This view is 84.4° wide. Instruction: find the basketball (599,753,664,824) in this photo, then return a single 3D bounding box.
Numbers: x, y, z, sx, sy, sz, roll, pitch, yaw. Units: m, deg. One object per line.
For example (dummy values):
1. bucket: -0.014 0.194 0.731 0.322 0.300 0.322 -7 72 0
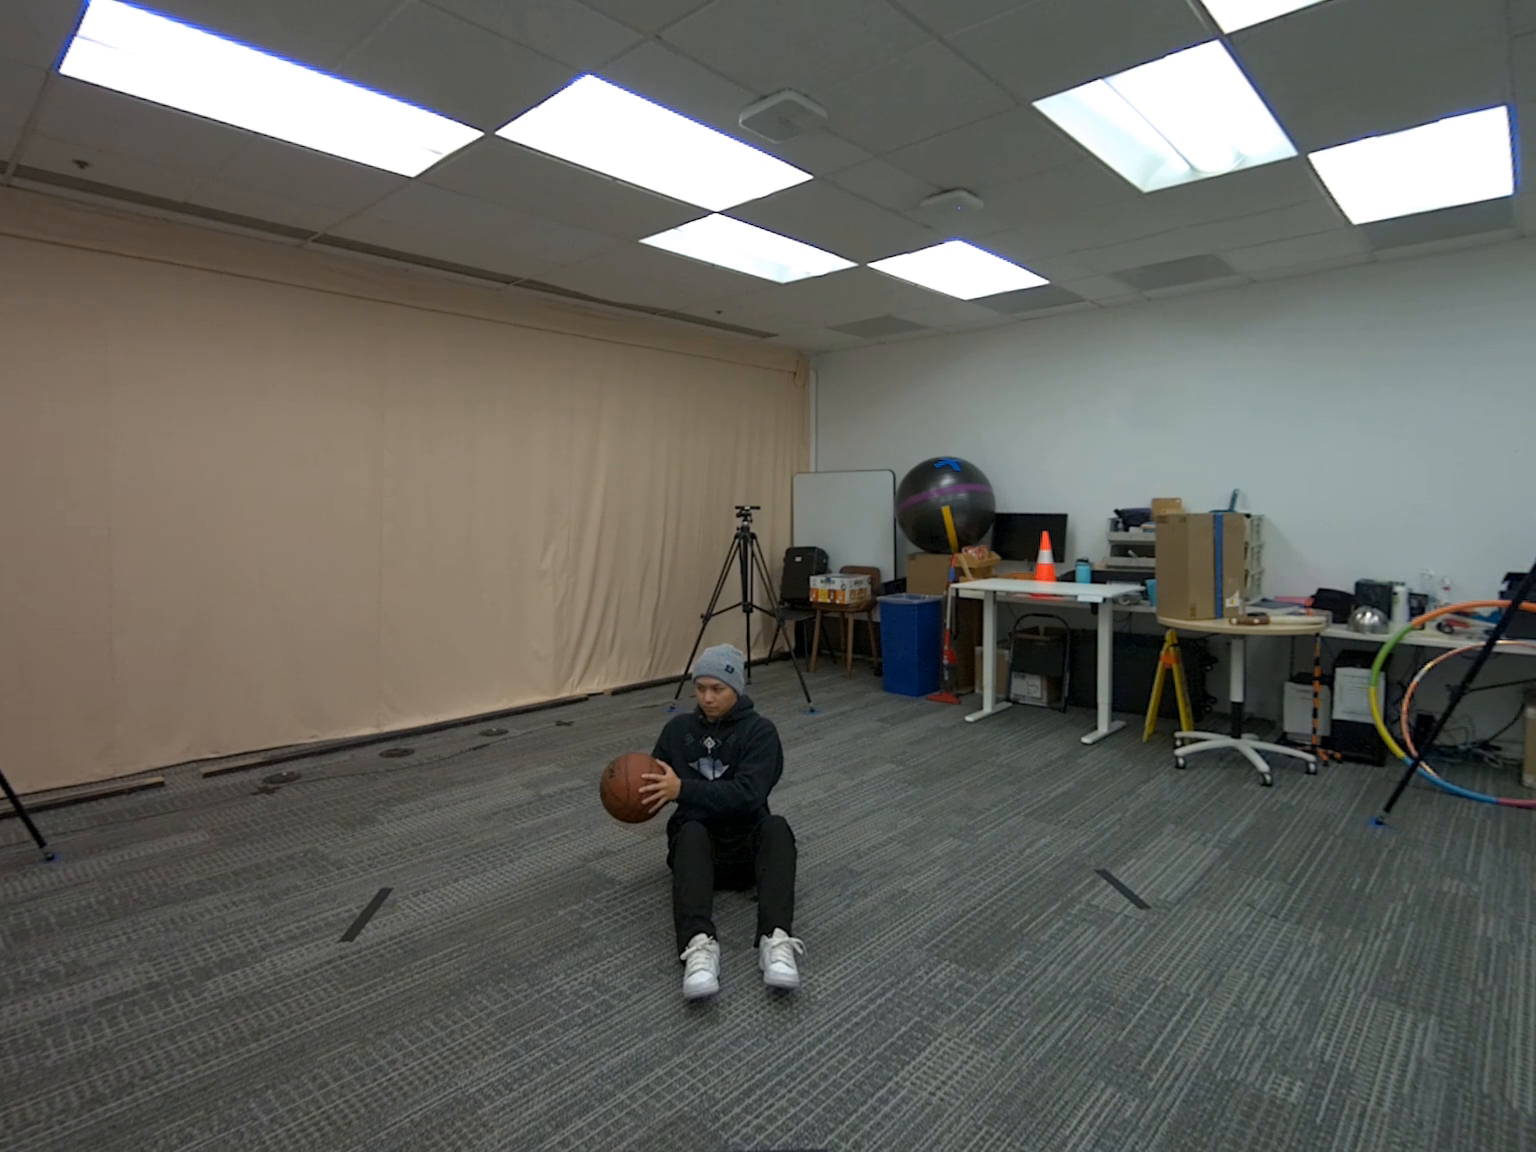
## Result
1. basketball: -0.458 0.730 2.916 0.236 0.235 0.237 0 4 -2
